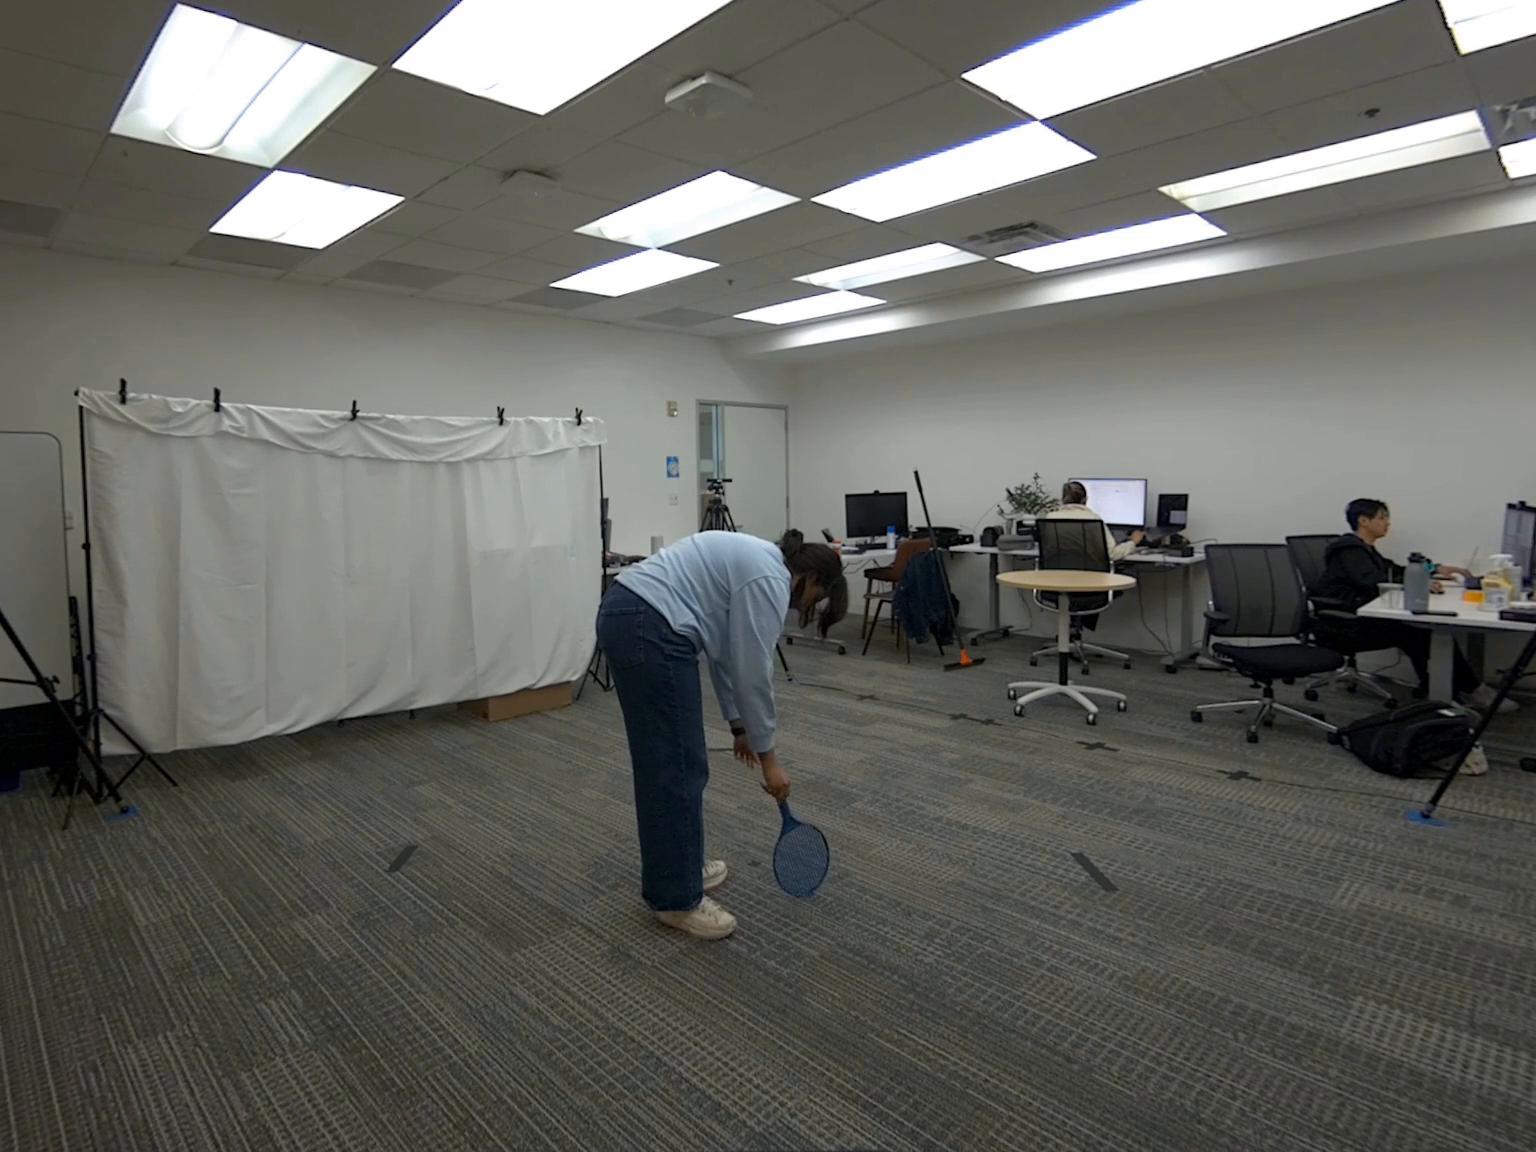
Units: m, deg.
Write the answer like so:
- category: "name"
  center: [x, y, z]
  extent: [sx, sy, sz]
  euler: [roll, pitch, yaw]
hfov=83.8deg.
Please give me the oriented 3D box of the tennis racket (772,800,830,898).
- category: "tennis racket"
  center: [0.091, 0.863, 2.821]
  extent: [0.211, 0.425, 0.032]
  euler: [-24, 16, -22]
